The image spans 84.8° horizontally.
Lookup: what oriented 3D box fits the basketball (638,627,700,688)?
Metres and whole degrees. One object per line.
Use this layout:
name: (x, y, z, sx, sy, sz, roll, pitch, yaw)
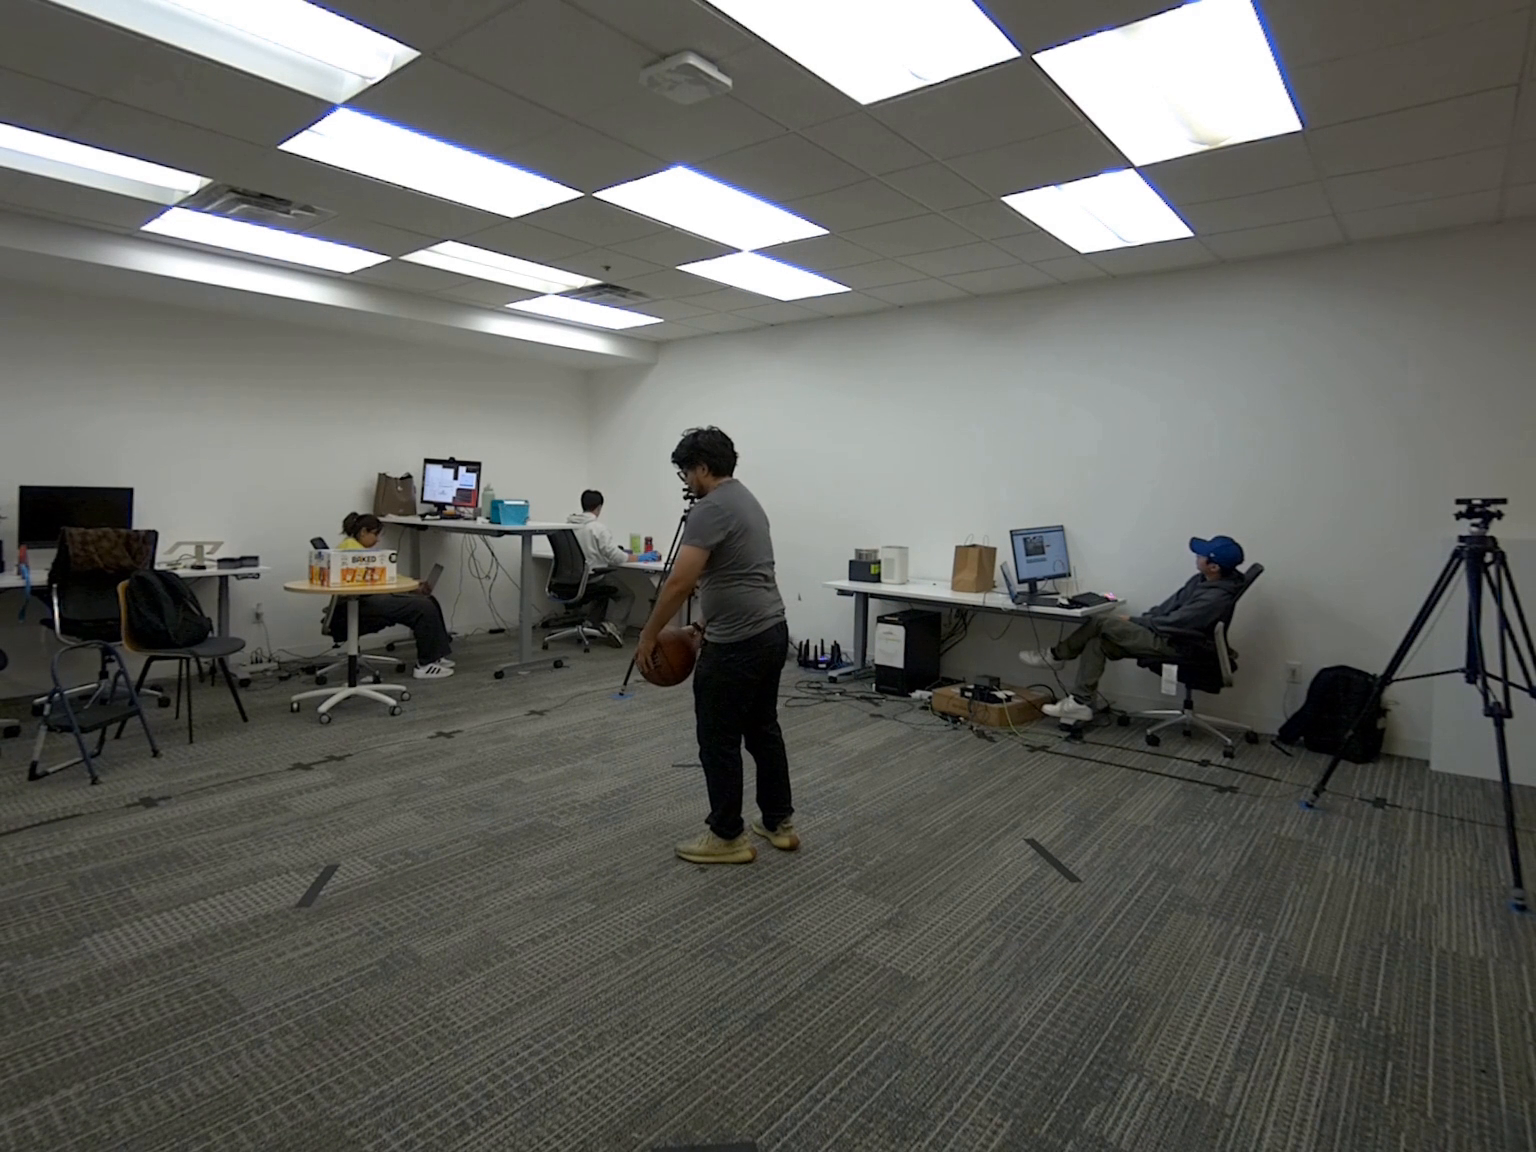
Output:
basketball: (-0.401, 0.301, 3.301, 0.235, 0.235, 0.237, 1, 4, -2)
